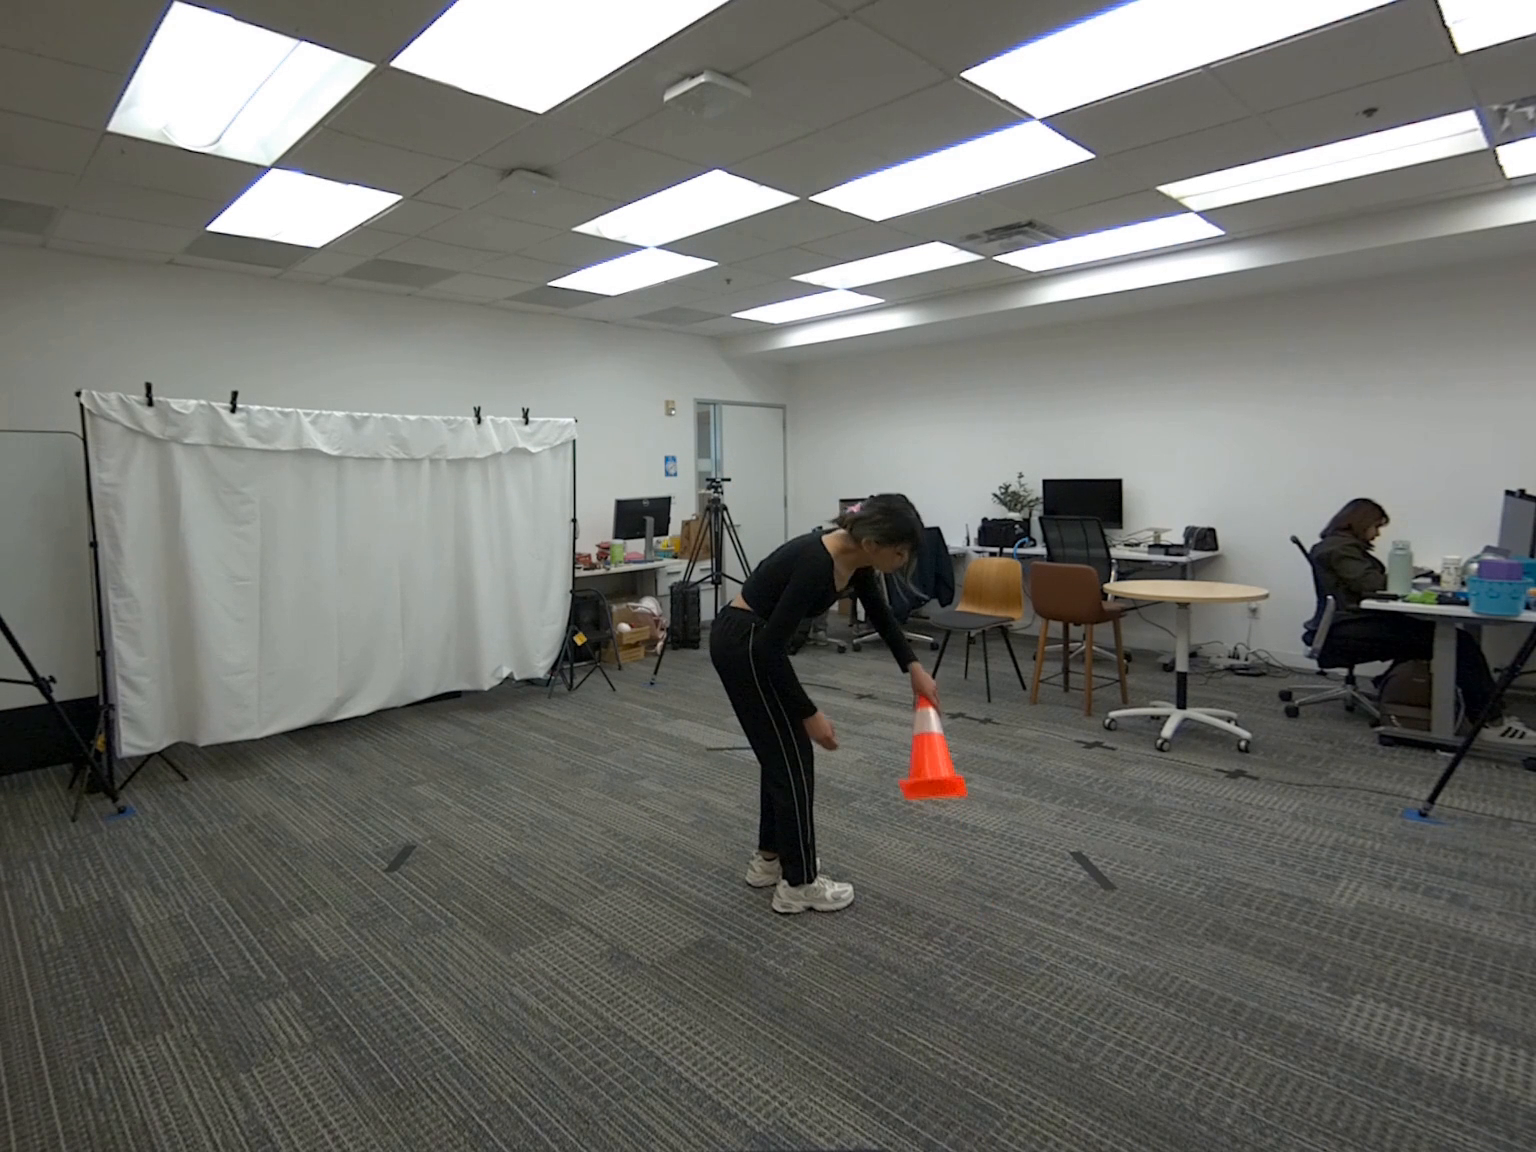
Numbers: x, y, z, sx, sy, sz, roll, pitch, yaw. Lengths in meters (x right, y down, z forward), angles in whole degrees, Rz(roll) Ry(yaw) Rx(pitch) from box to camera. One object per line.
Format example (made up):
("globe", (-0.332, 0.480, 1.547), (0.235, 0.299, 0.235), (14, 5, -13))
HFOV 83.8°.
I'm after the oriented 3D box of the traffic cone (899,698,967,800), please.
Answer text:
("traffic cone", (0.524, 0.500, 2.796), (0.205, 0.393, 0.198), (-8, -29, 11))
